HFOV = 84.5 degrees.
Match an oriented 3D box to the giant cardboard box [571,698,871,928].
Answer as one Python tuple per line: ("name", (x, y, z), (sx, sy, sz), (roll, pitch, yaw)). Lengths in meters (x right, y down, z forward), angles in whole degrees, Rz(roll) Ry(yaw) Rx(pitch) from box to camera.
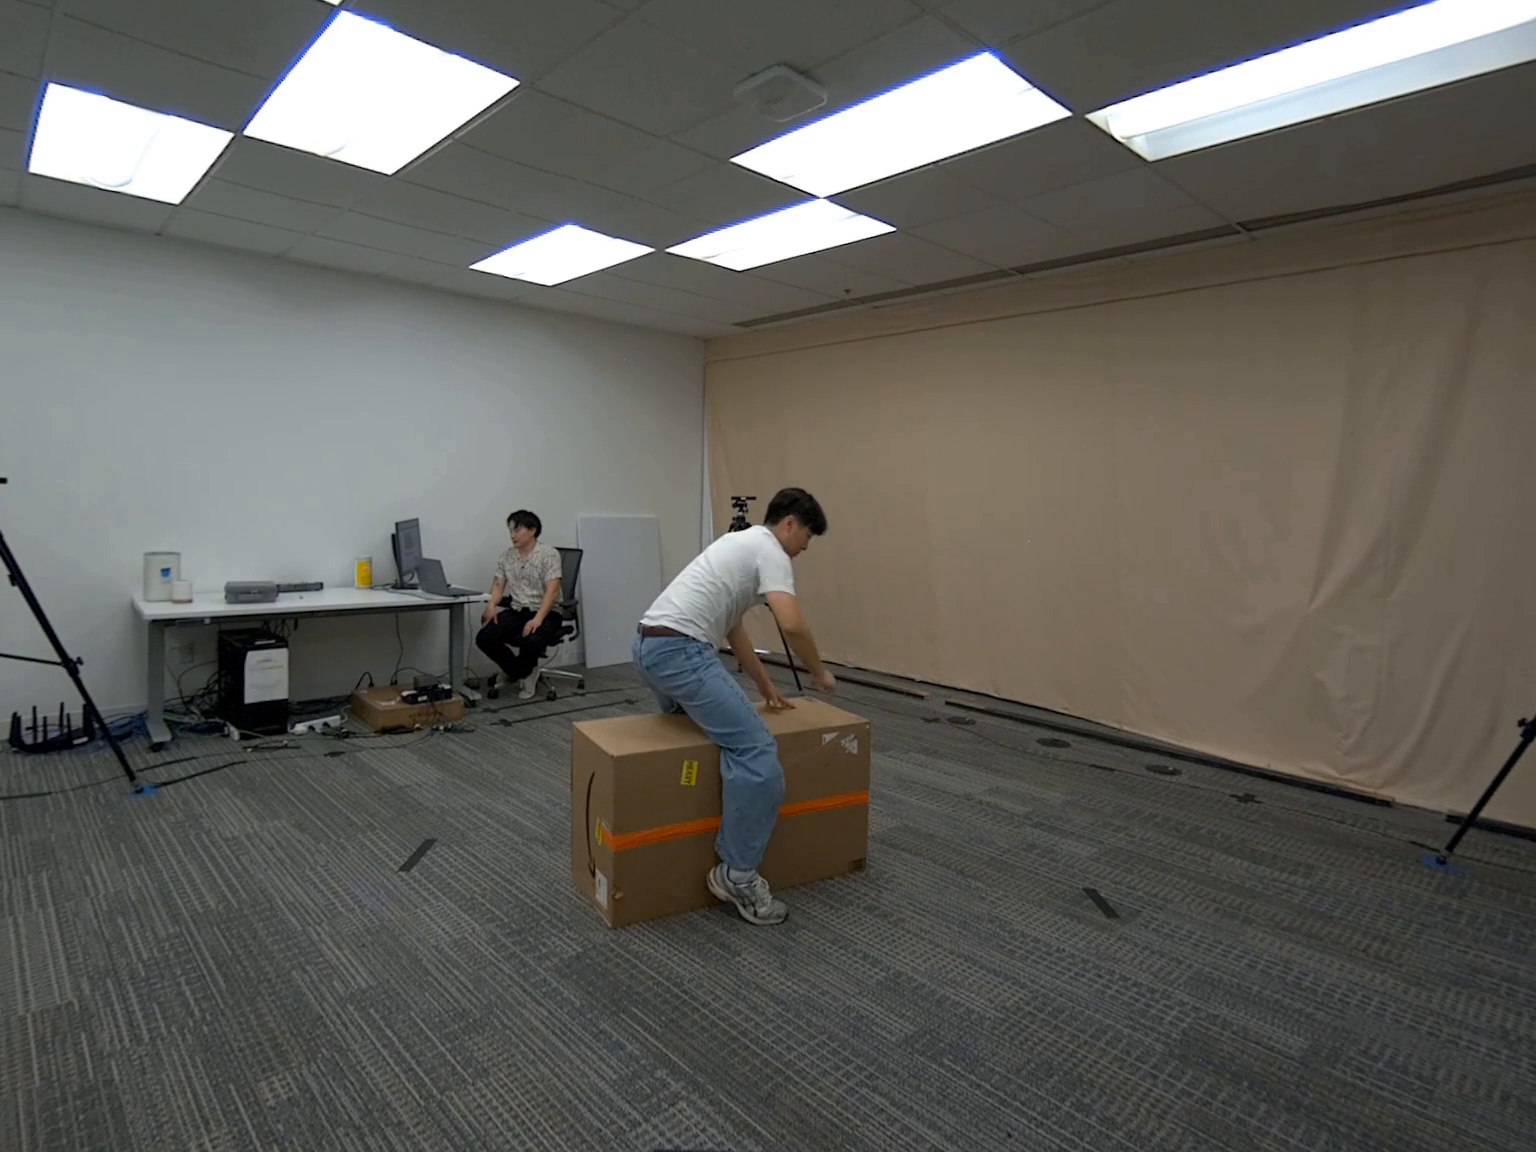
("giant cardboard box", (-0.171, 0.819, 3.104), (1.006, 0.576, 0.435), (-1, 4, -28))
